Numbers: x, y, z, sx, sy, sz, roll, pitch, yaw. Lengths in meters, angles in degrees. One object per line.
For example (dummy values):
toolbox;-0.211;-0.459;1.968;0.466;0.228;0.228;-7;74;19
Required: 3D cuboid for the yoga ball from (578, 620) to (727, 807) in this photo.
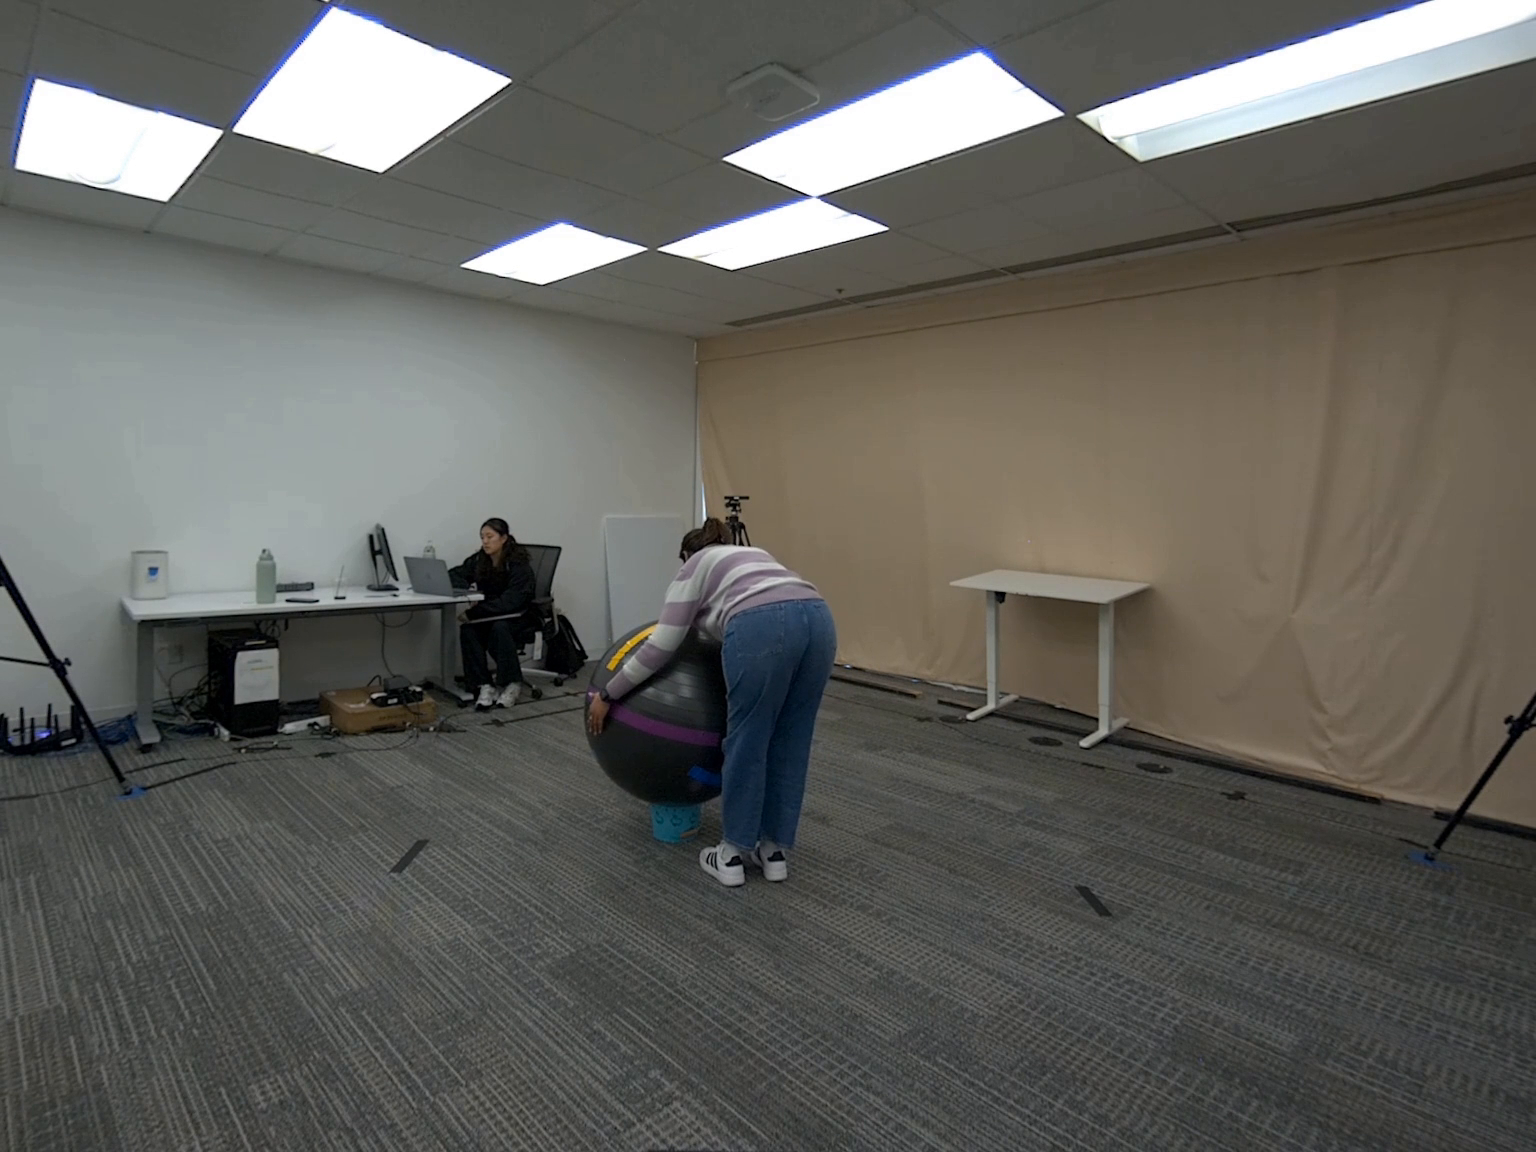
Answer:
yoga ball;-0.384;0.551;3.472;0.757;0.756;0.761;1;4;-1
